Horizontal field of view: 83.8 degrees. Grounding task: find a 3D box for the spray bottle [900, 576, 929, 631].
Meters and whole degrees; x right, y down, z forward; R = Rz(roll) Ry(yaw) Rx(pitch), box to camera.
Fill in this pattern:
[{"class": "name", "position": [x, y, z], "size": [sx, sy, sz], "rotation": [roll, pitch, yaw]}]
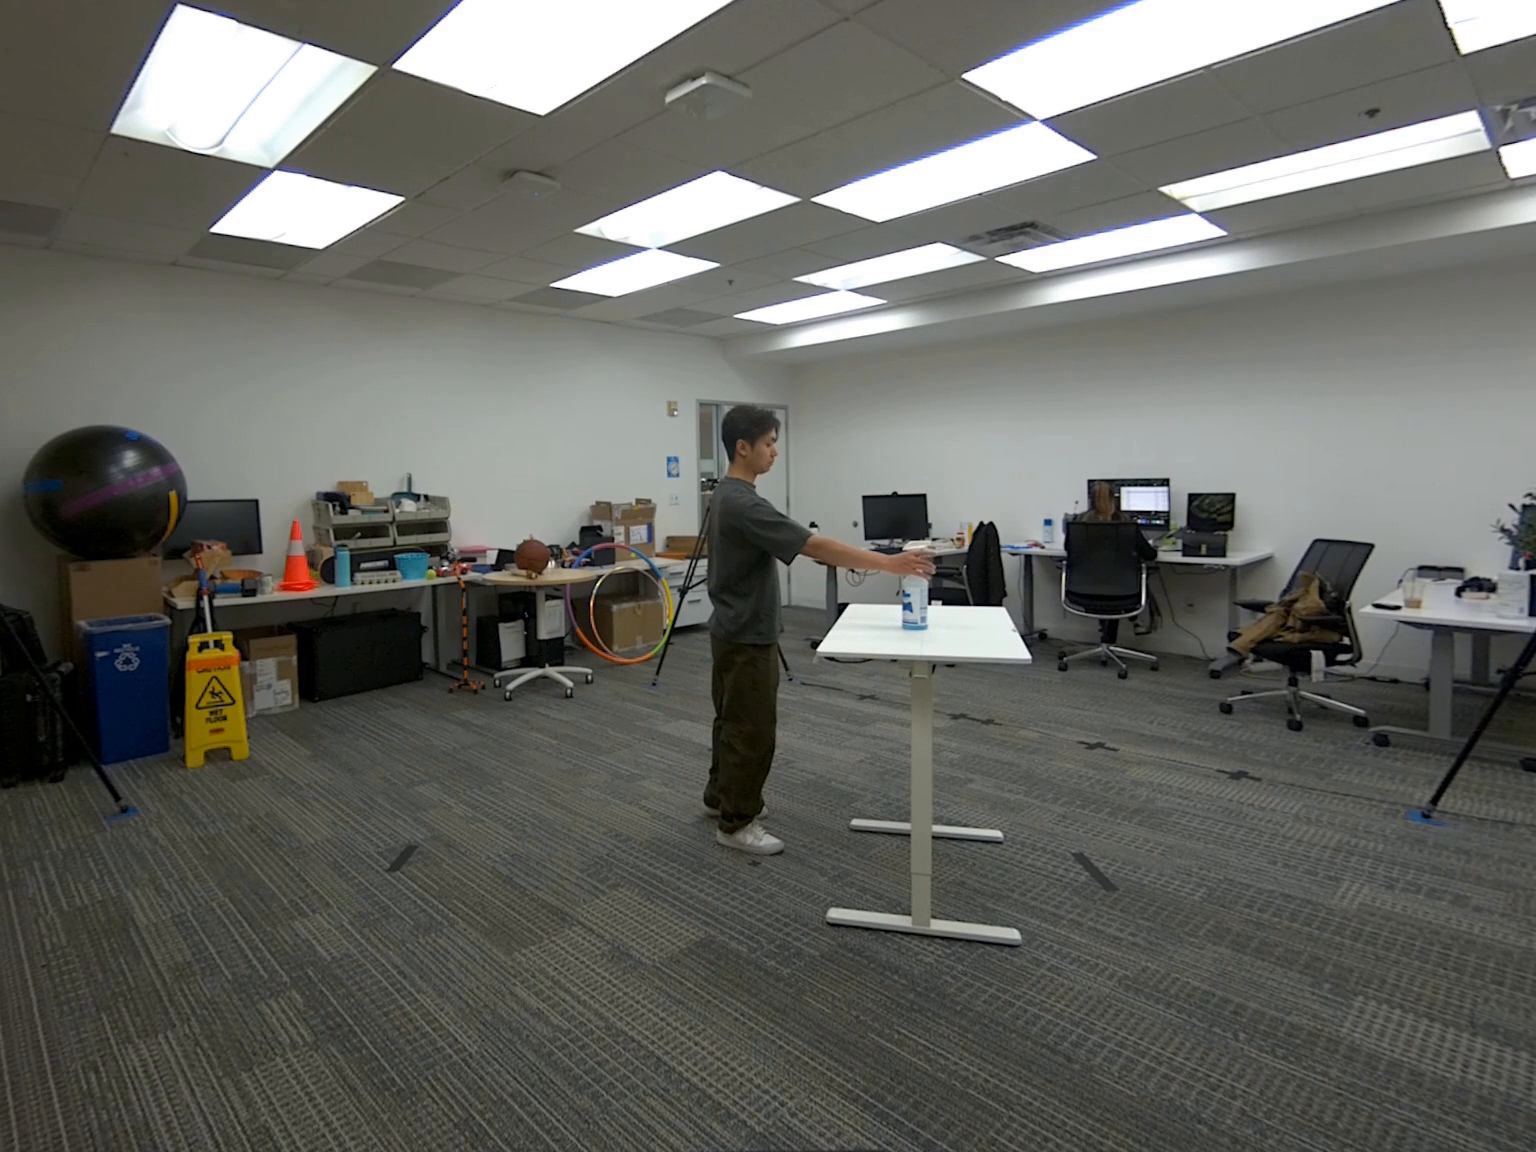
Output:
[{"class": "spray bottle", "position": [0.504, 0.033, 2.879], "size": [0.092, 0.296, 0.085], "rotation": [5, 4, 30]}]
